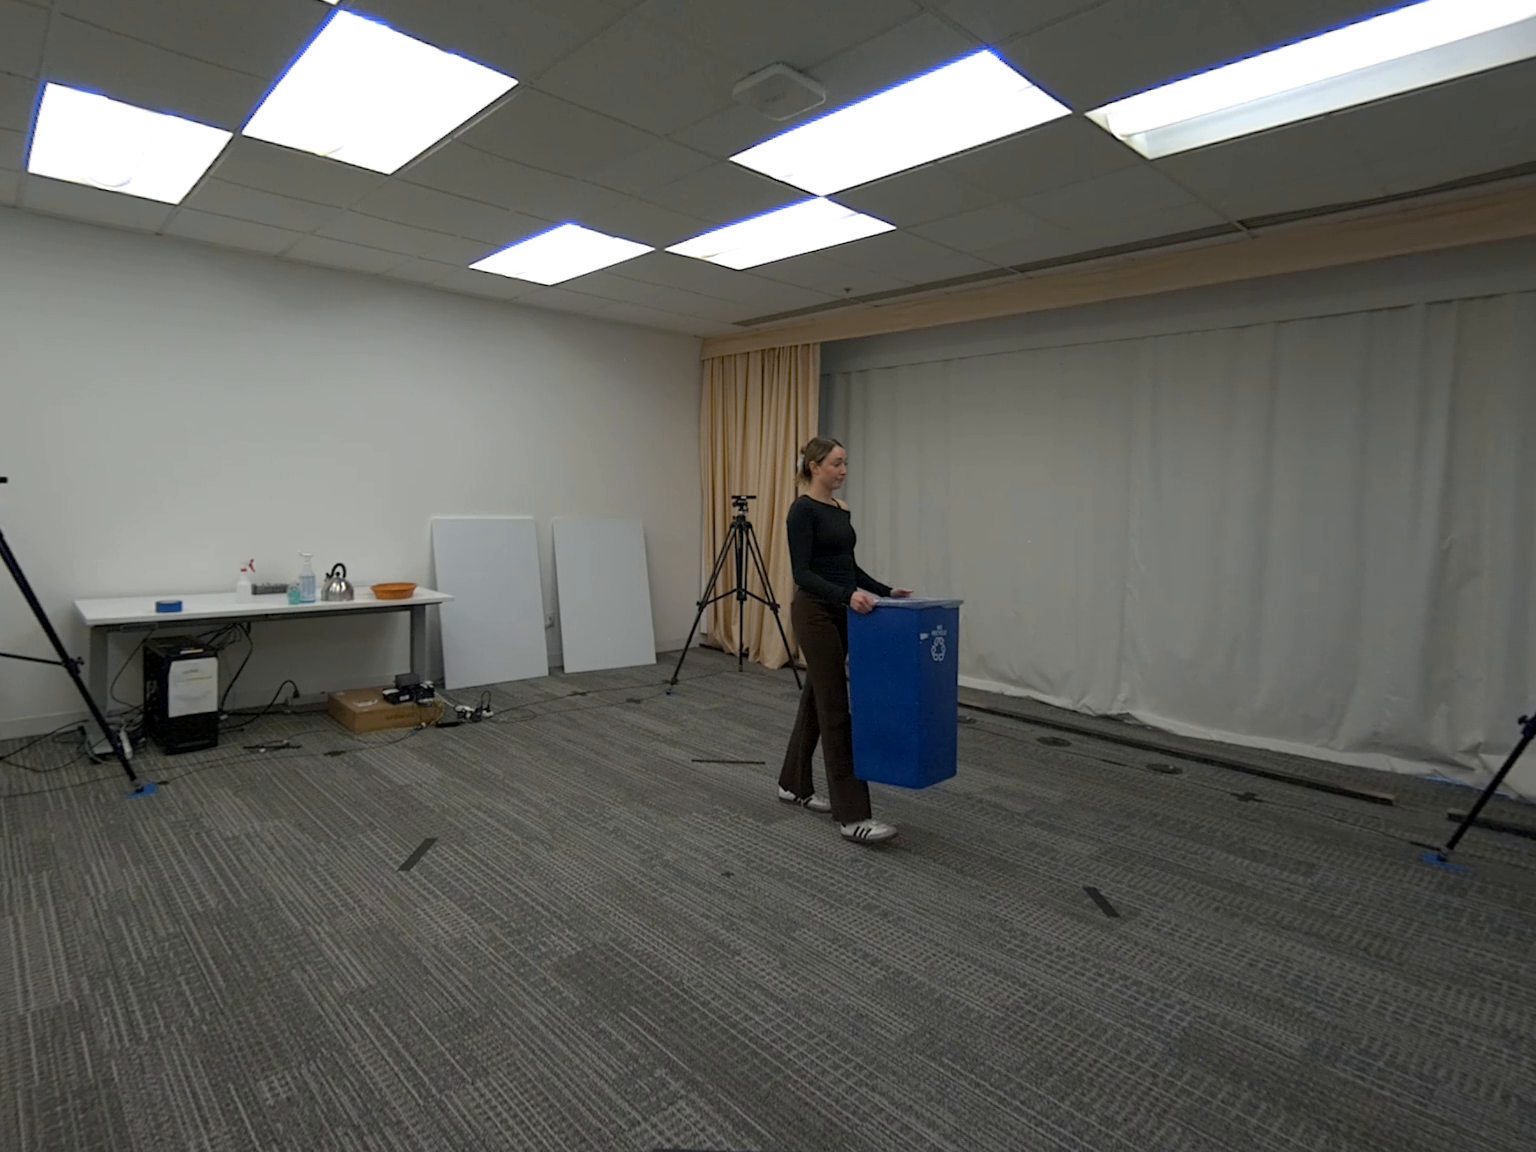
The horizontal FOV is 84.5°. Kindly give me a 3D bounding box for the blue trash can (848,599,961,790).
[{"bbox_3d":[0.547,0.449,3.398,0.387,0.714,0.365,-2,-1,43],"label":"blue trash can"}]
